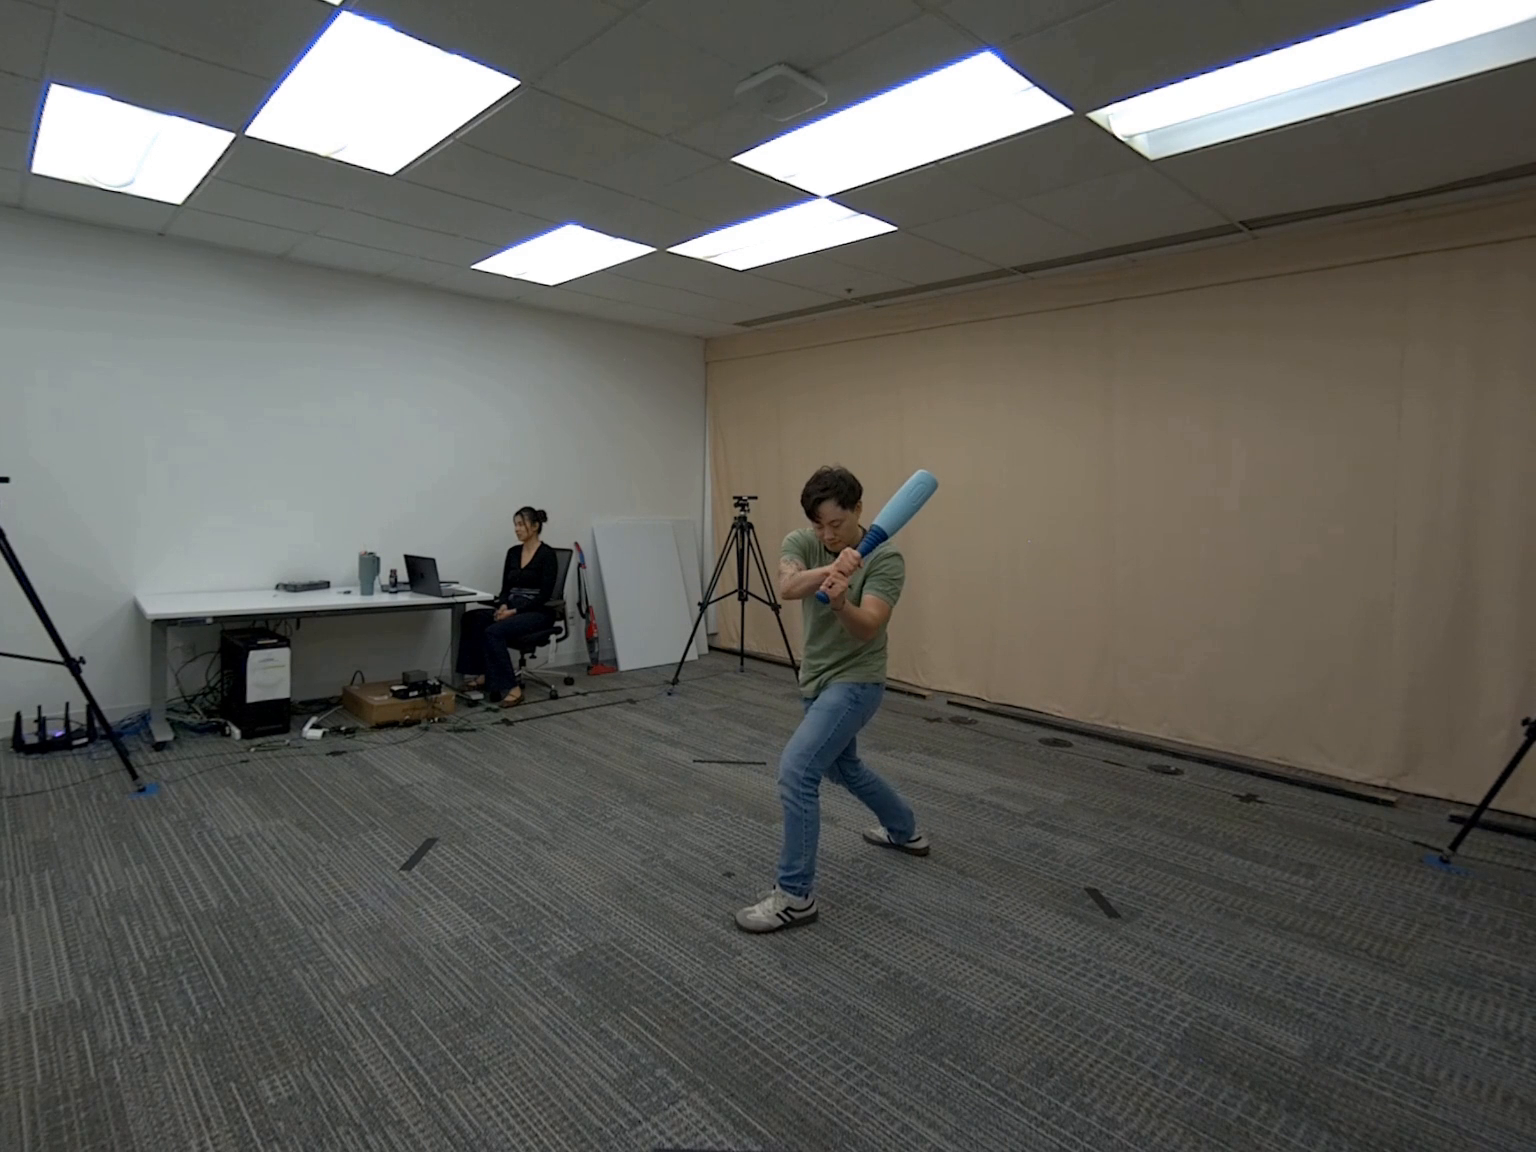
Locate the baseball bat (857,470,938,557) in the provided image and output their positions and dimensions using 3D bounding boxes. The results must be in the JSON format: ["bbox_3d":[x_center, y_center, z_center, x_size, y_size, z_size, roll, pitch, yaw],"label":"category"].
[{"bbox_3d":[0.324,-0.115,2.595,0.090,0.543,0.088,41,-12,9],"label":"baseball bat"}]
